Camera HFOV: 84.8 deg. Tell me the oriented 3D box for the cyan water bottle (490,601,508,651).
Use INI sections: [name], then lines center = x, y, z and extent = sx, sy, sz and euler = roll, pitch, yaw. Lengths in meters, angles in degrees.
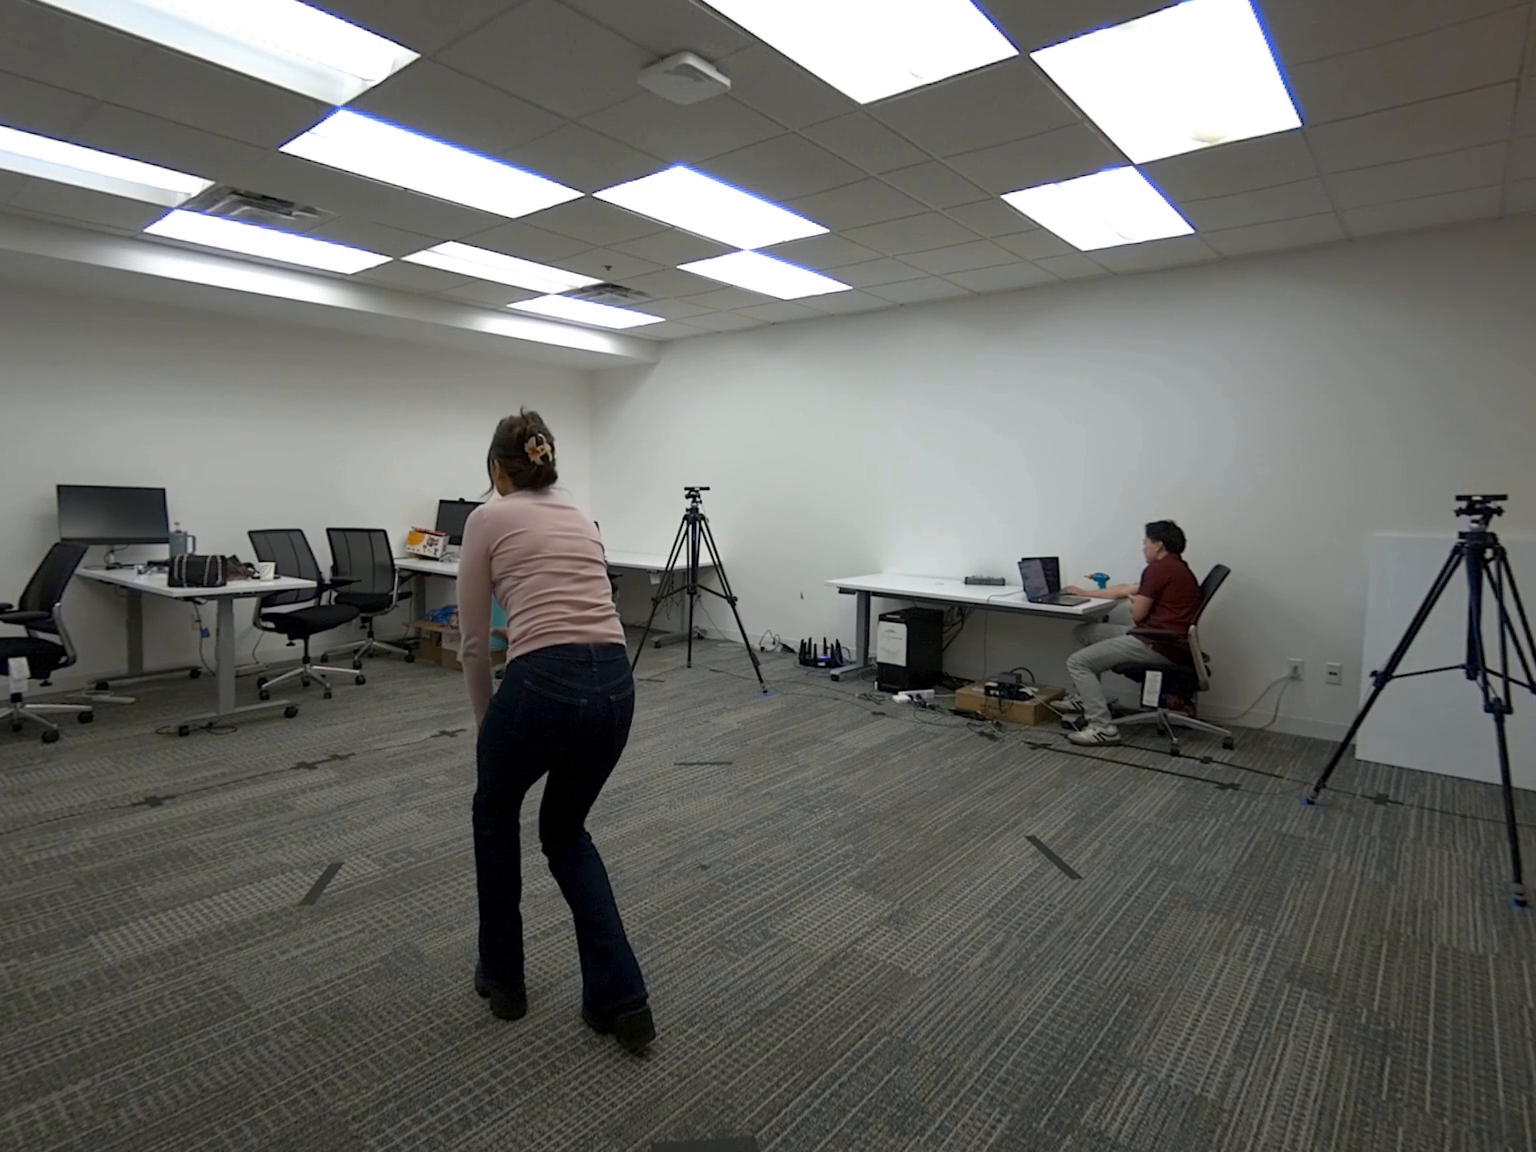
[cyan water bottle]
center = -0.872, 0.086, 2.704
extent = 0.092, 0.282, 0.093
euler = 5, 4, -2
